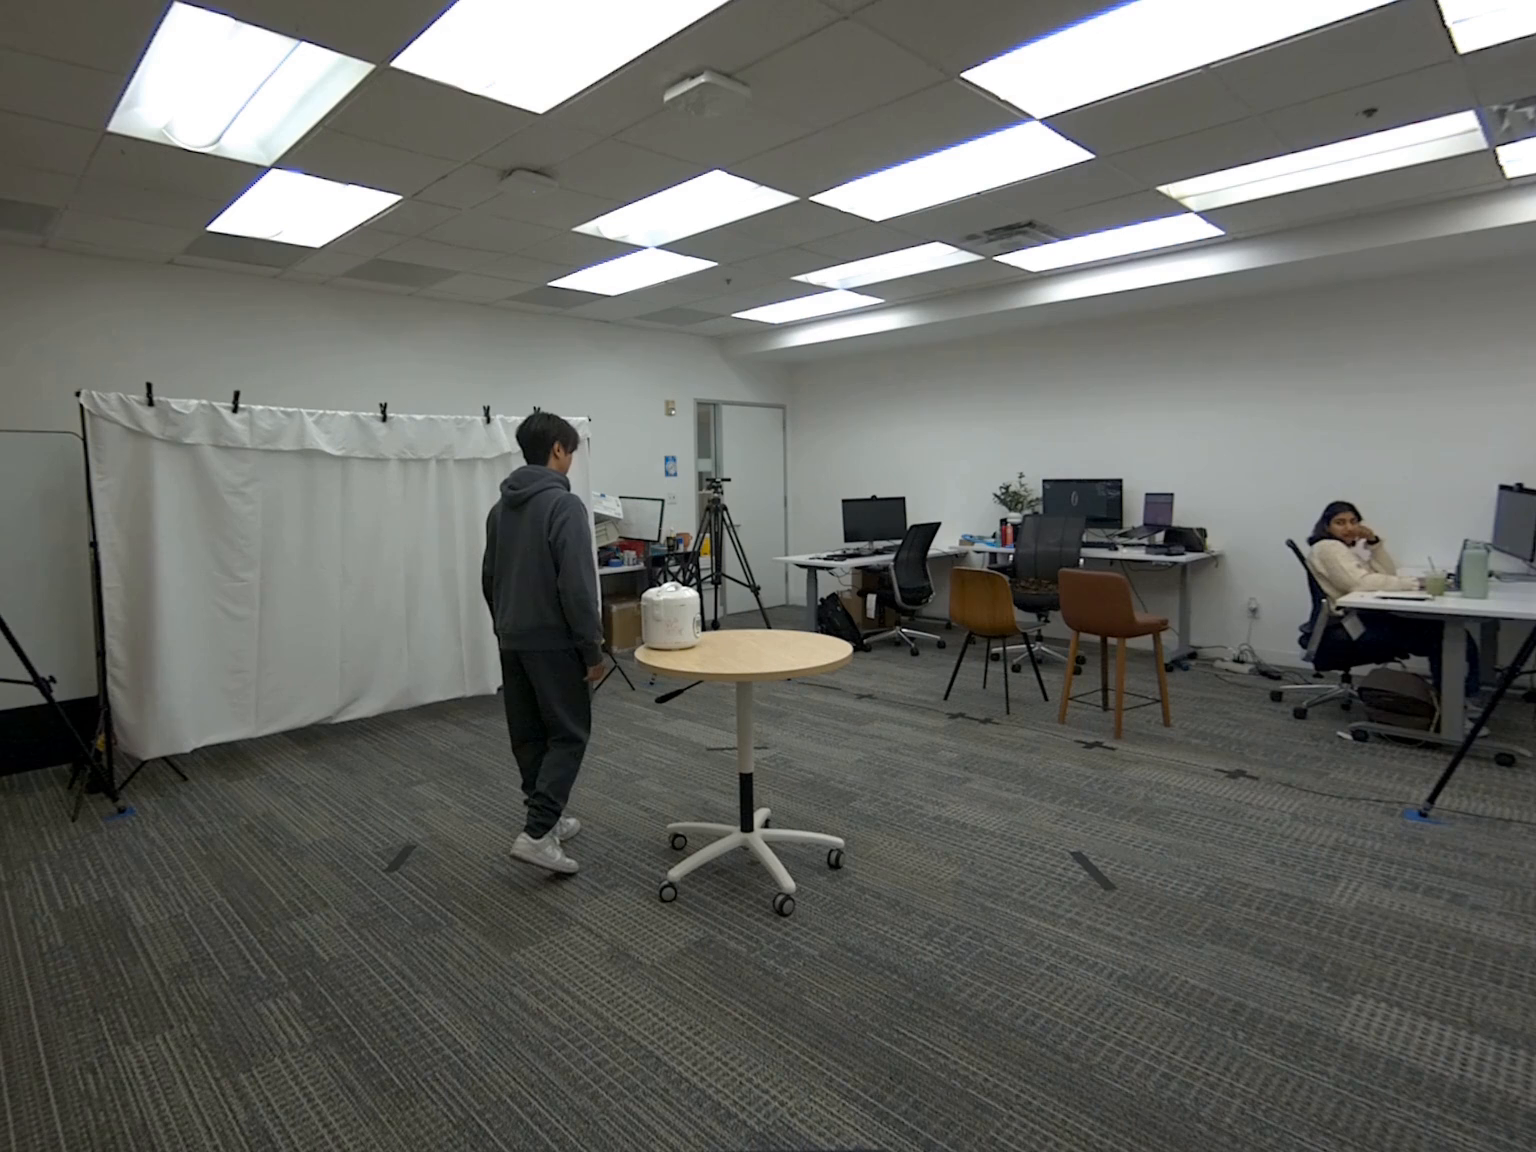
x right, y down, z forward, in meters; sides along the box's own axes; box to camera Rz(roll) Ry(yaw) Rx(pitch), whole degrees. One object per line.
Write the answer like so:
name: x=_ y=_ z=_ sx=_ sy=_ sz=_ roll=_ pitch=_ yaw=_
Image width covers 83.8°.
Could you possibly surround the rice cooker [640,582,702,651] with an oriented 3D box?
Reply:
rice cooker: x=-0.351 y=0.137 z=3.087 sx=0.222 sy=0.232 sz=0.217 roll=-1 pitch=5 yaw=23
